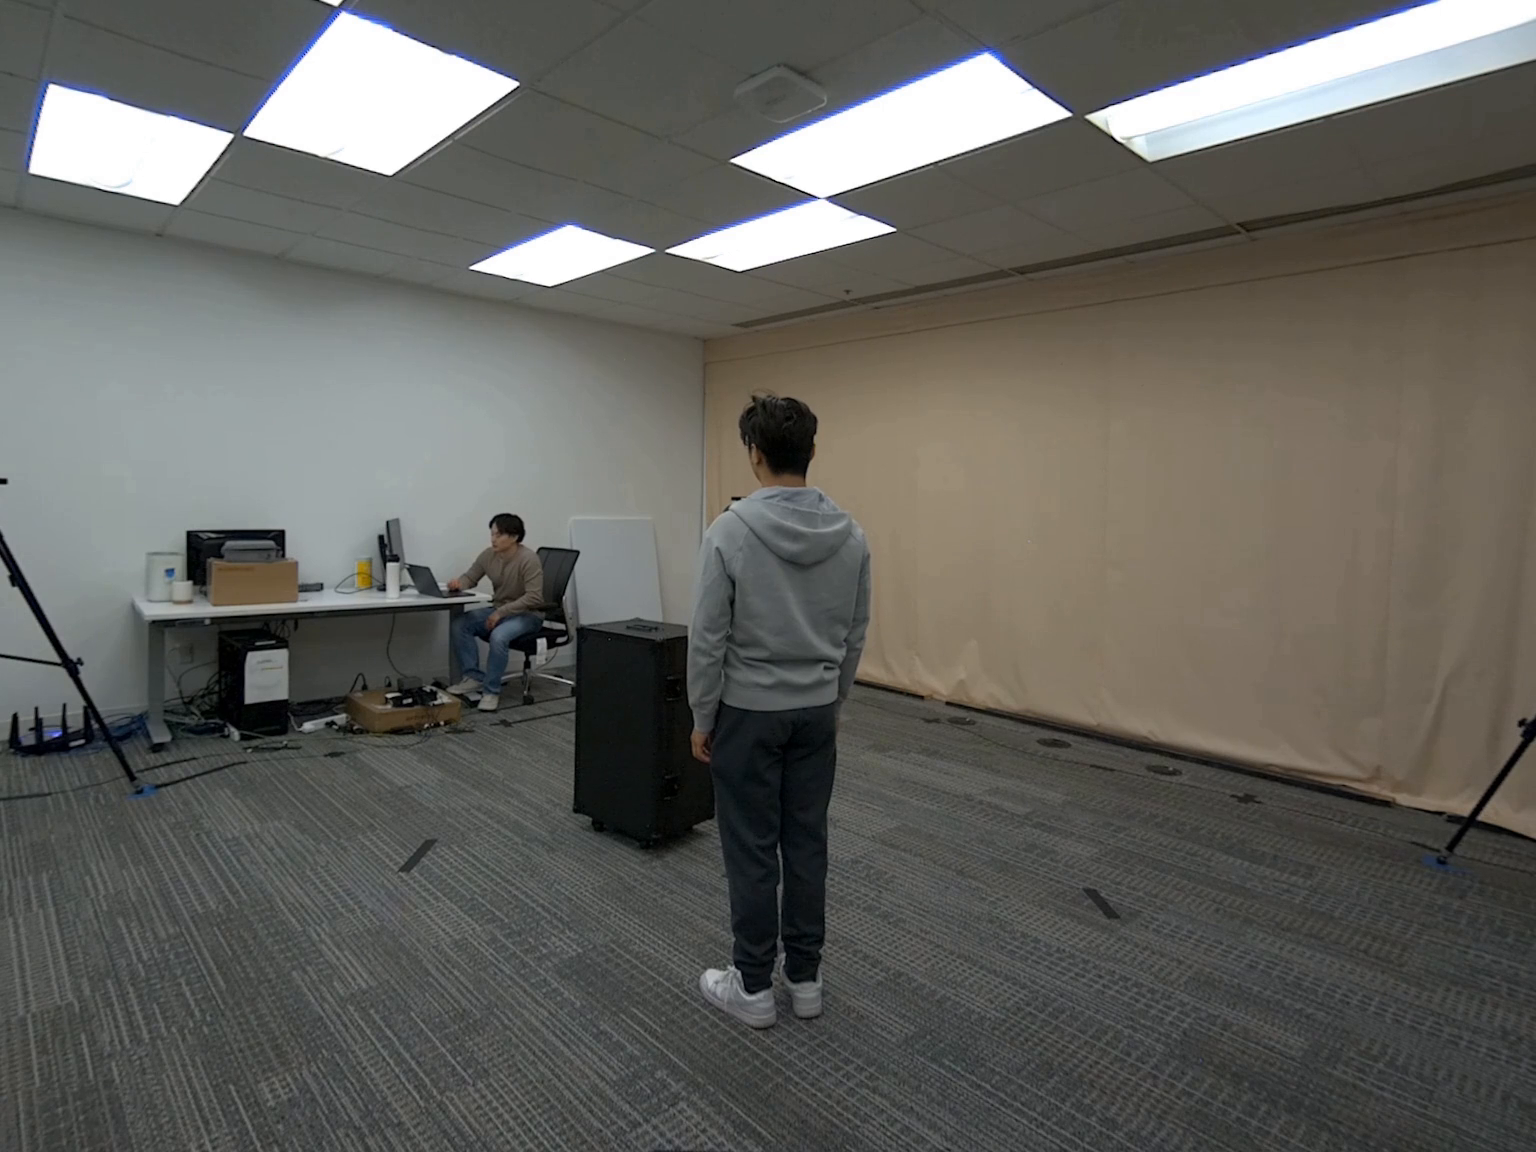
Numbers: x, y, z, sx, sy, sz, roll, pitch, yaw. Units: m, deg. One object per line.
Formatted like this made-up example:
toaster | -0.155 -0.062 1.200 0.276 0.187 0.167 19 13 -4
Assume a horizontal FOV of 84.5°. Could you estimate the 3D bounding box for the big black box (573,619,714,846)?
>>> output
big black box | -0.513 0.638 3.495 0.534 0.860 0.387 4 3 37
